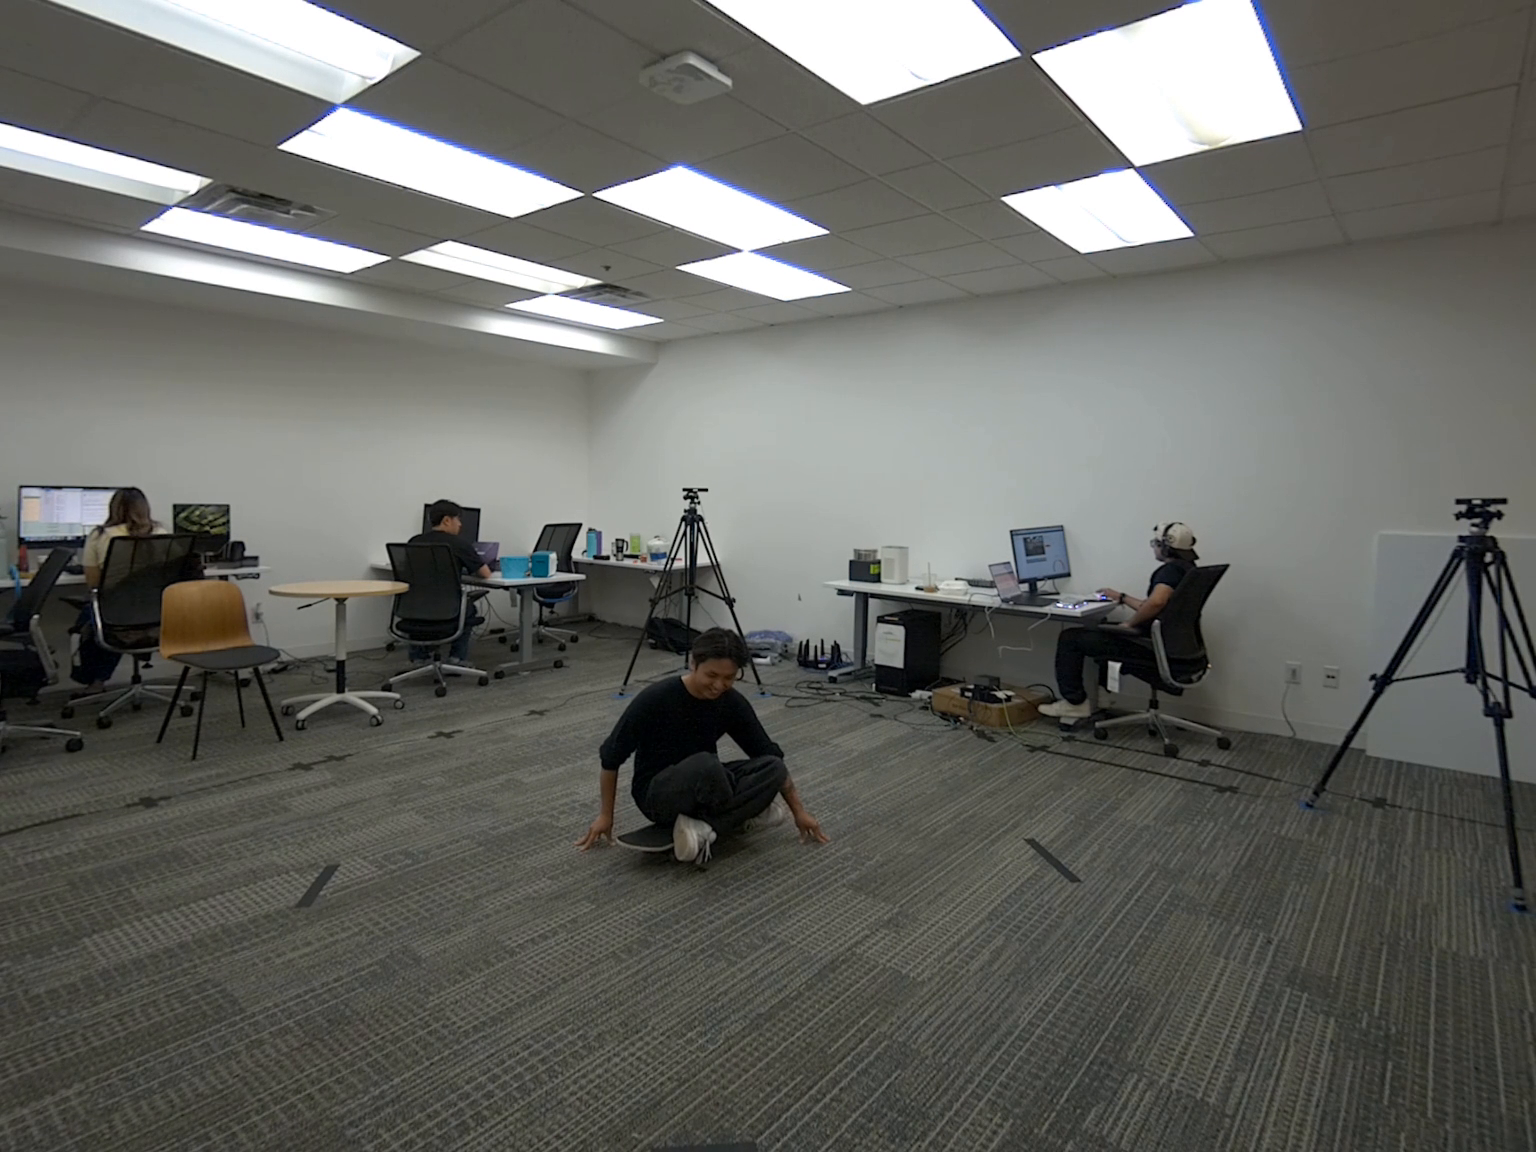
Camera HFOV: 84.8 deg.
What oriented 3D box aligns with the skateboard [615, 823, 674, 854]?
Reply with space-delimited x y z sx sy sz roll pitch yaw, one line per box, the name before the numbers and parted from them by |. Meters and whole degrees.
skateboard | -0.270 1.001 3.358 0.200 0.110 0.763 3 6 38
